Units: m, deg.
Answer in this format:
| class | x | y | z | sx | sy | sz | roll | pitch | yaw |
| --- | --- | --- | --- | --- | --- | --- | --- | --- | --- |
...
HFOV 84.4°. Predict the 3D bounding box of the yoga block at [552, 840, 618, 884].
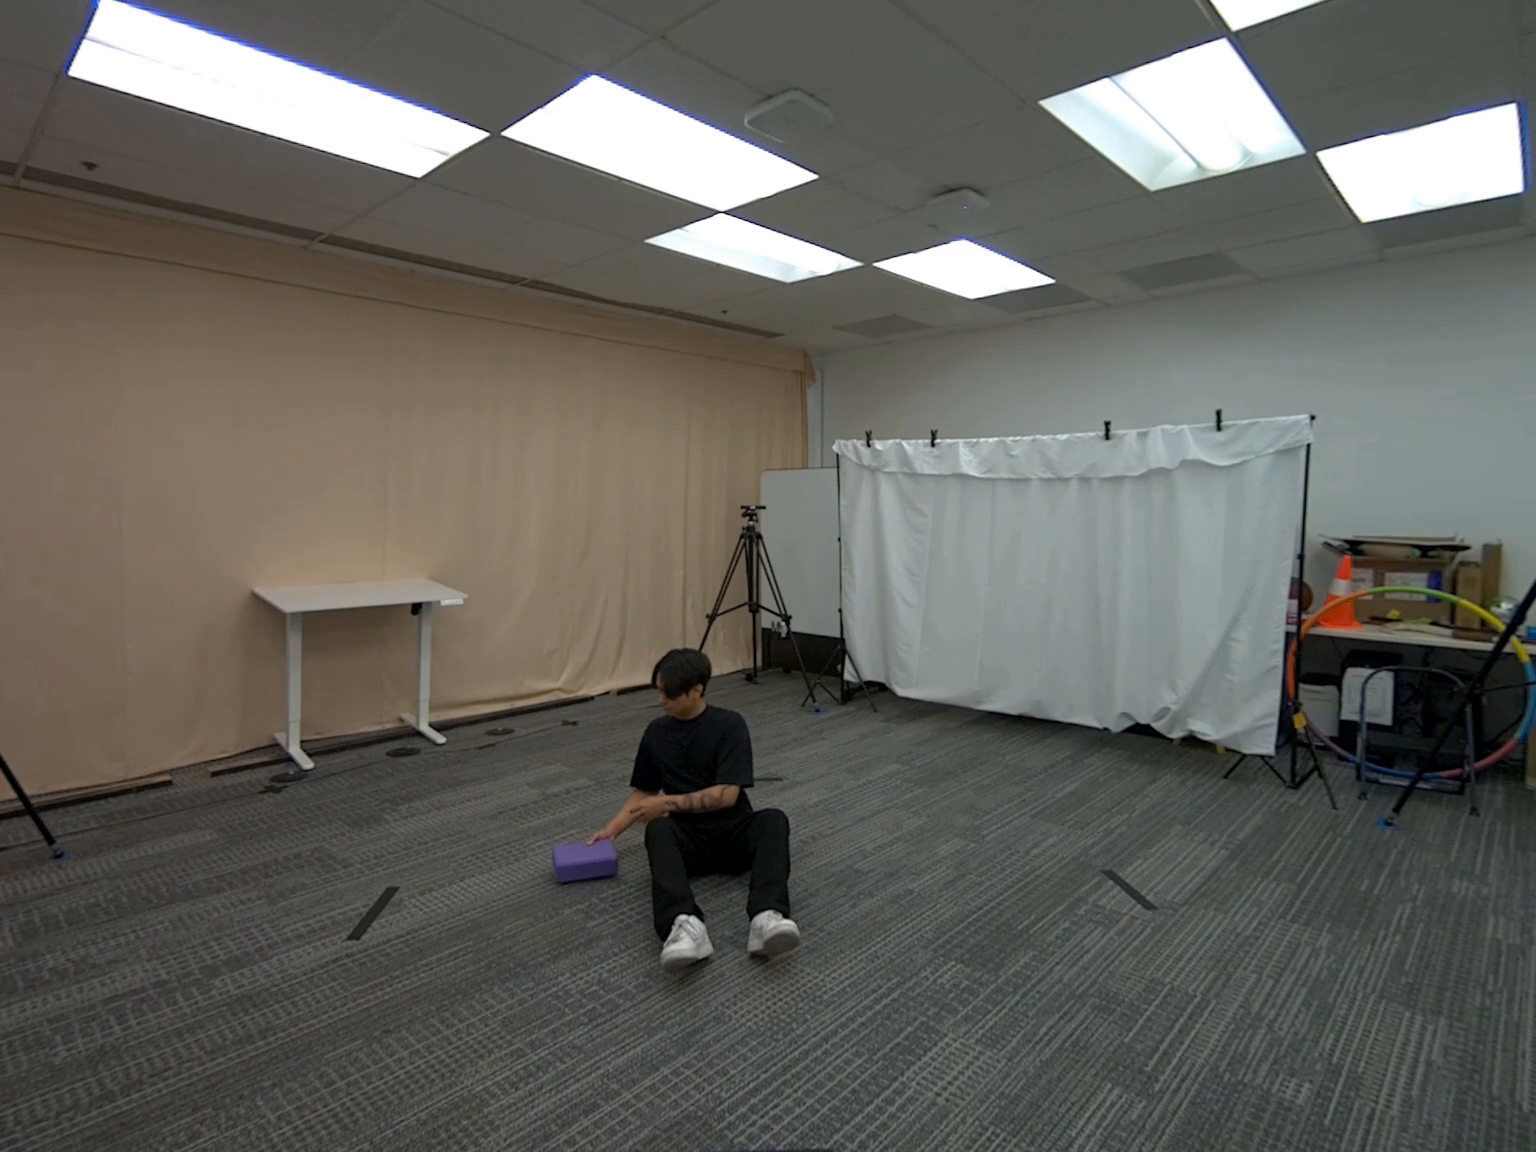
| class | x | y | z | sx | sy | sz | roll | pitch | yaw |
| --- | --- | --- | --- | --- | --- | --- | --- | --- | --- |
| yoga block | -0.693 | 1.079 | 3.186 | 0.225 | 0.076 | 0.152 | -1 | 11 | -17 |
